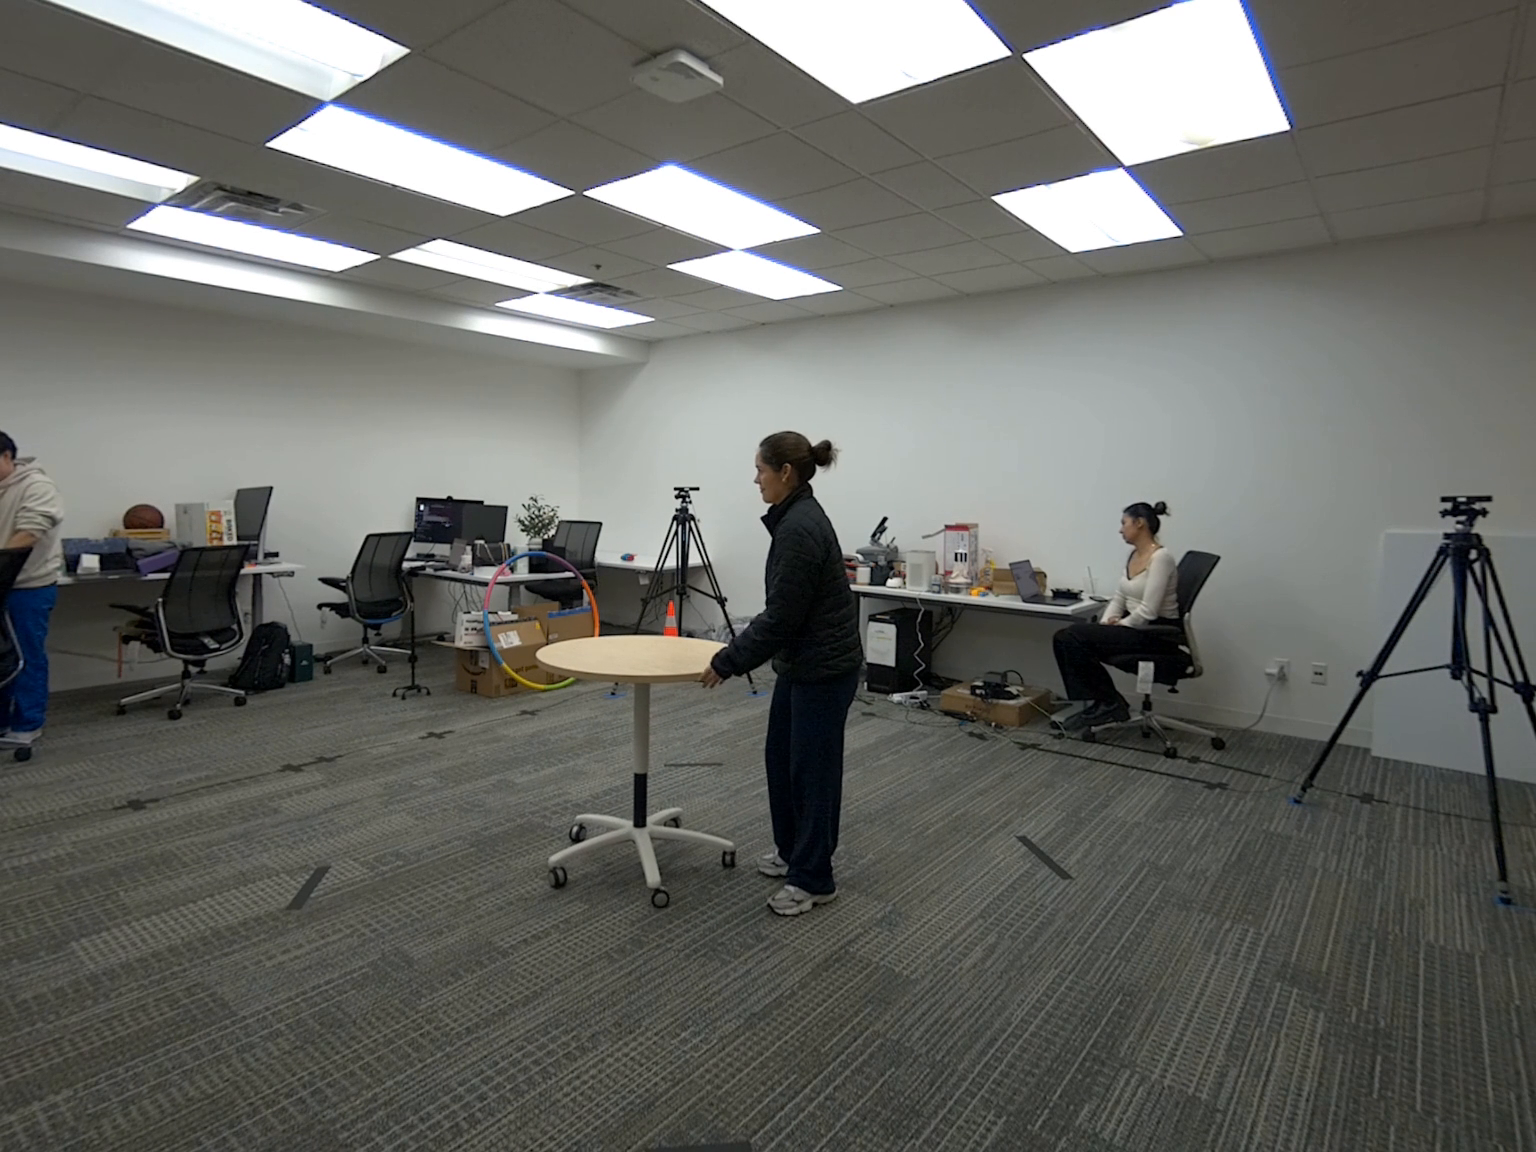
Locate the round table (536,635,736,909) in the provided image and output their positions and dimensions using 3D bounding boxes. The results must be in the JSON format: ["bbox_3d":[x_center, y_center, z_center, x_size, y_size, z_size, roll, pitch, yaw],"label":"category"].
[{"bbox_3d":[-0.441,0.666,3.139,0.784,0.784,0.789,1,4,-2],"label":"round table"}]
